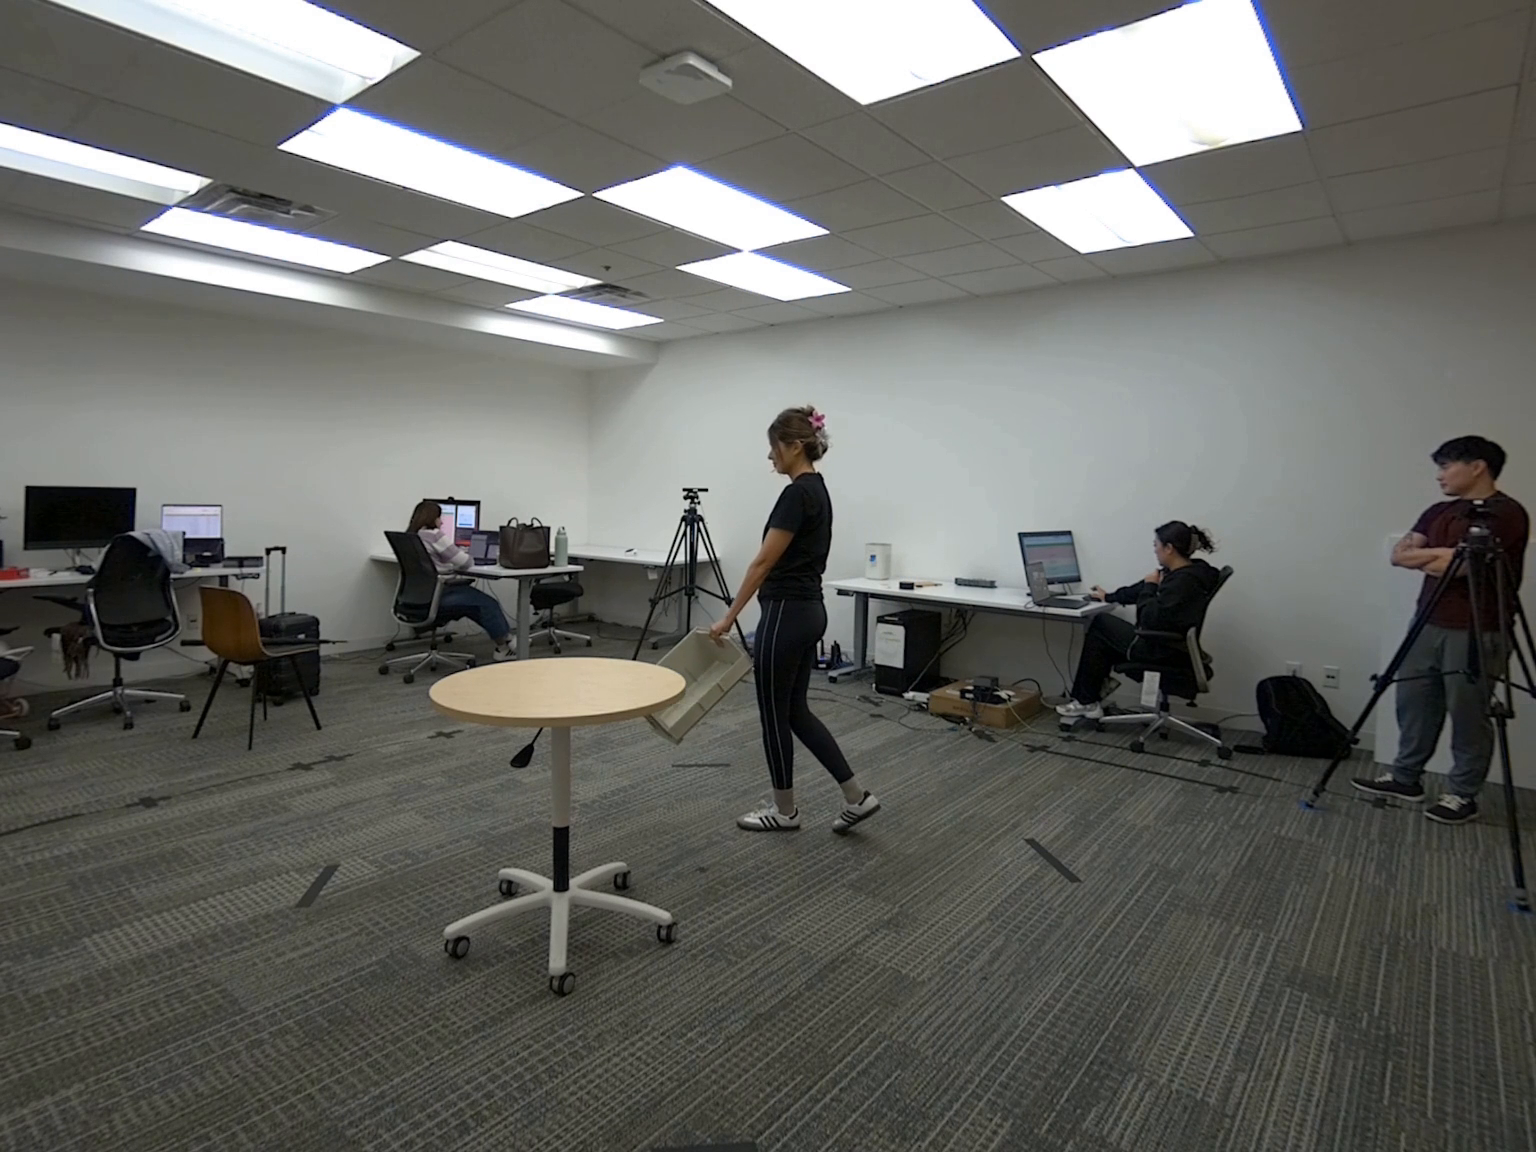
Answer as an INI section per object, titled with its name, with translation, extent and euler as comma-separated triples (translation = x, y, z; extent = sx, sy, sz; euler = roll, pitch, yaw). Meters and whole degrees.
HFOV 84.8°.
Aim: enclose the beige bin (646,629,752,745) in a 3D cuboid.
[beige bin]
translation = -0.306, 0.416, 3.306
extent = 0.421, 0.185, 0.386
euler = -44, 17, -19
